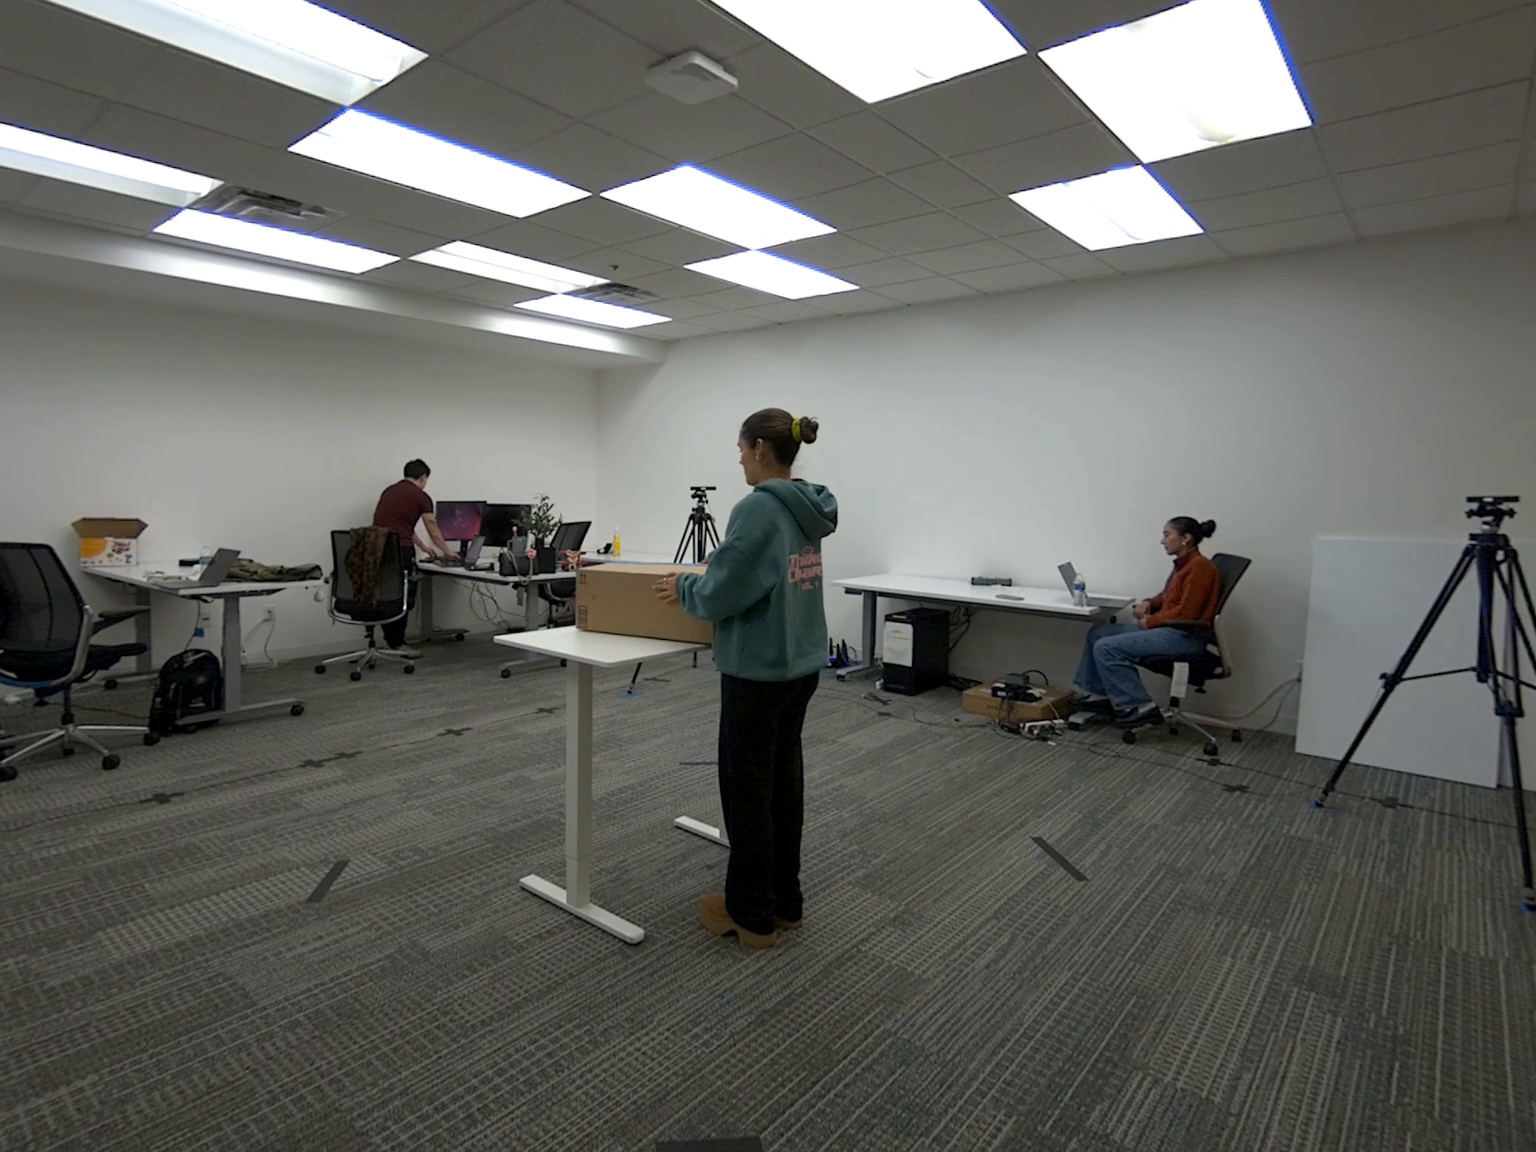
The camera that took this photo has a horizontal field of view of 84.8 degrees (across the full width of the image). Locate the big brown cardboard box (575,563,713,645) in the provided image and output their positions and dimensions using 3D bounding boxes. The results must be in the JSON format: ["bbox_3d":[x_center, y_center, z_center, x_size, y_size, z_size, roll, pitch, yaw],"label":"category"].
[{"bbox_3d":[-0.337,0.080,3.019,0.605,0.232,0.408,3,6,28],"label":"big brown cardboard box"}]
